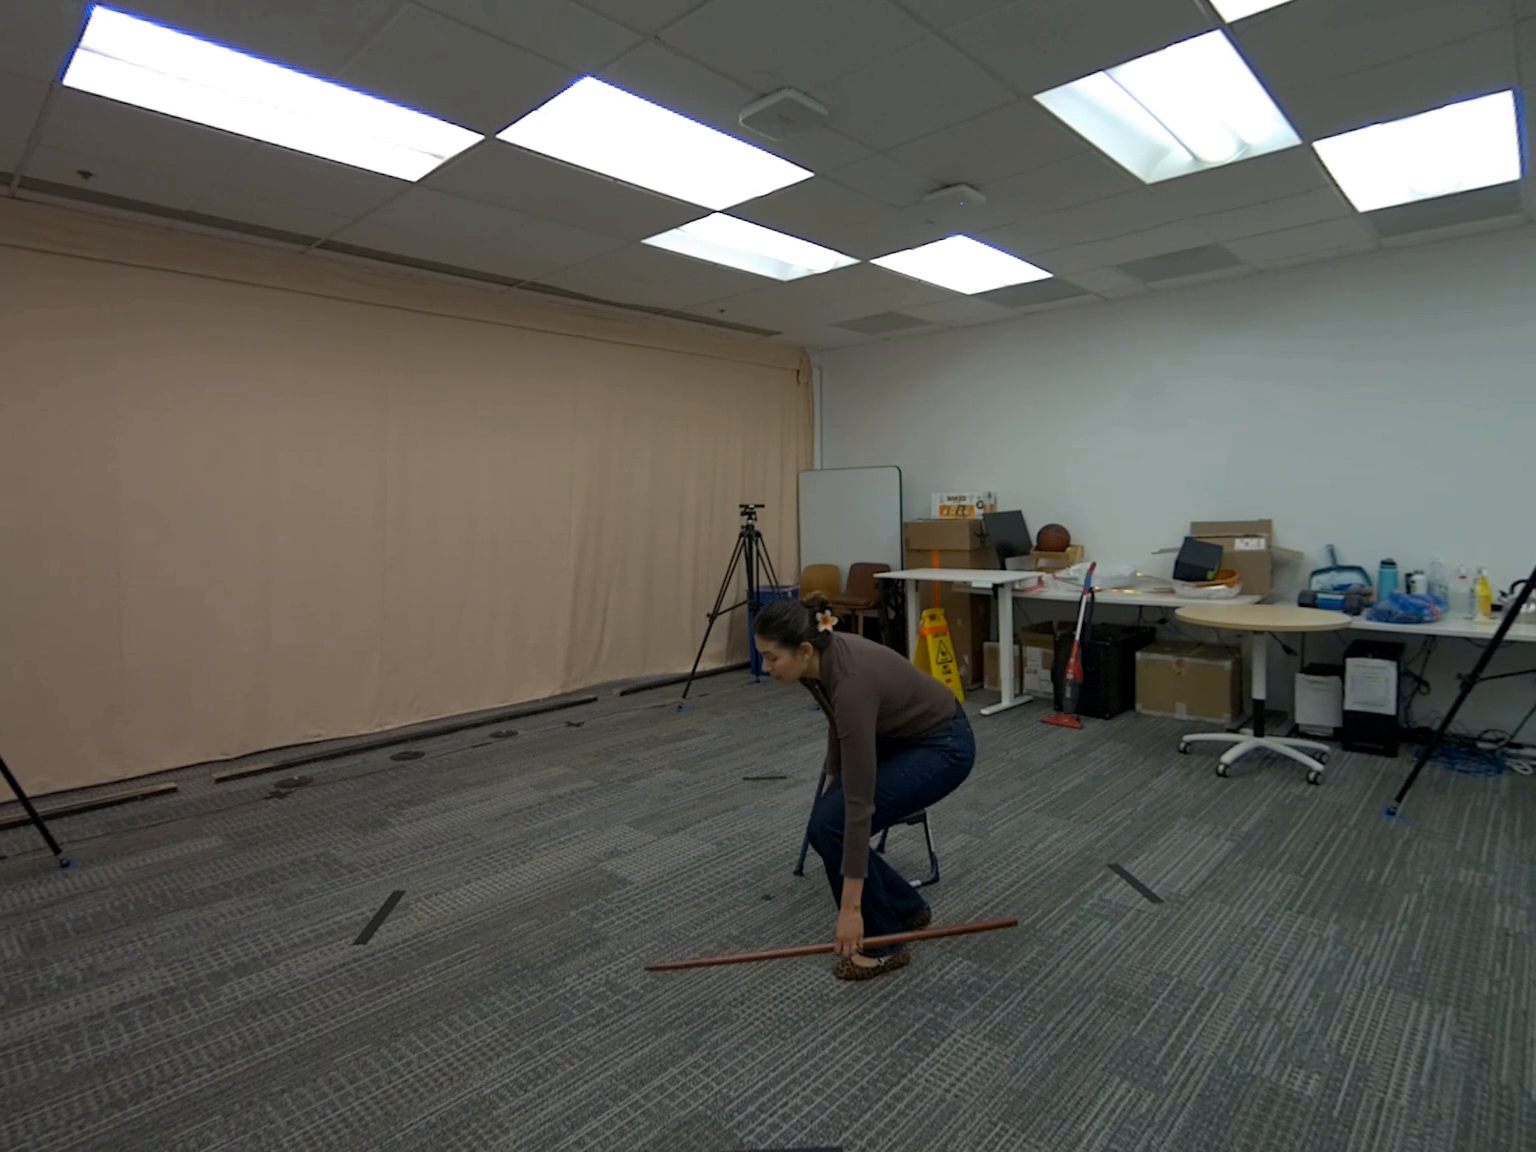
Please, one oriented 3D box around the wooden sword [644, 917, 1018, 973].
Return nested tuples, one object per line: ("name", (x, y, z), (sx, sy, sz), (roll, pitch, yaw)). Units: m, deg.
("wooden sword", (0.195, 1.015, 2.317), (1.027, 0.051, 0.024), (-8, 8, 2))
